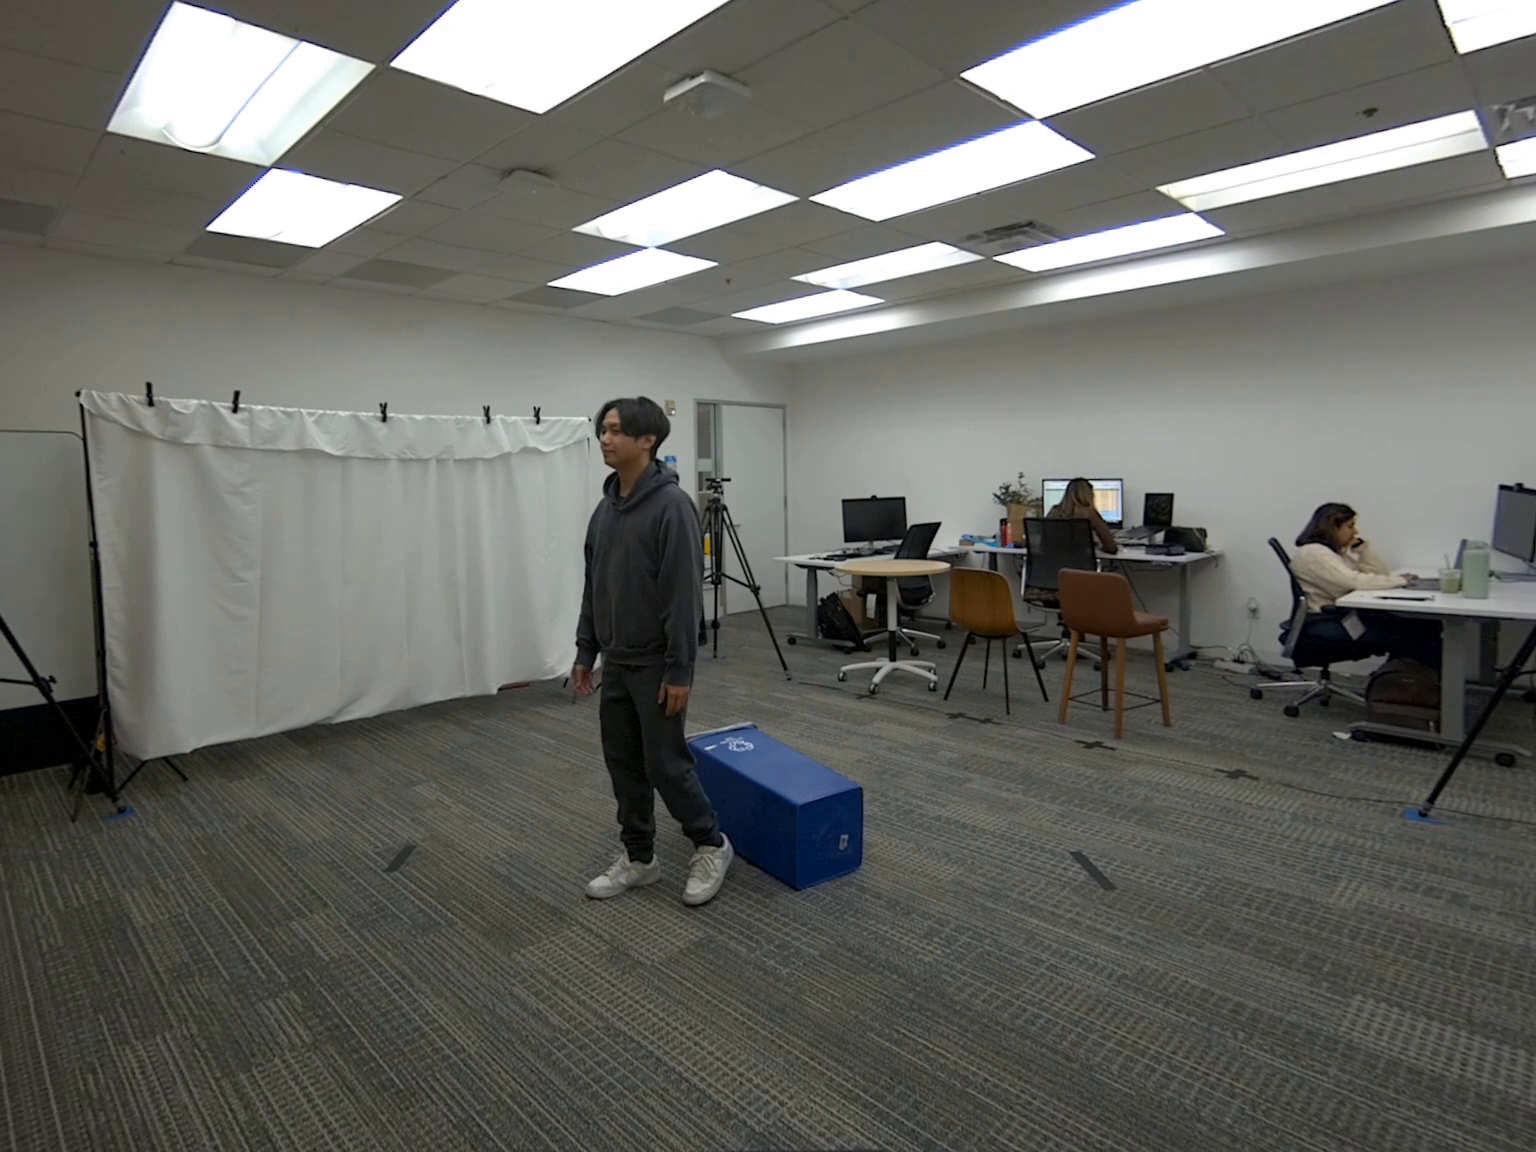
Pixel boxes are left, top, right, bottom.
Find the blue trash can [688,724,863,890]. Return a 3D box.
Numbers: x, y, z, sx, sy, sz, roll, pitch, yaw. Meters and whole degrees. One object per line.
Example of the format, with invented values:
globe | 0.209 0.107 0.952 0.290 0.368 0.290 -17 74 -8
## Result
blue trash can | 0.011 0.856 3.247 0.365 0.375 0.736 -5 10 -35
